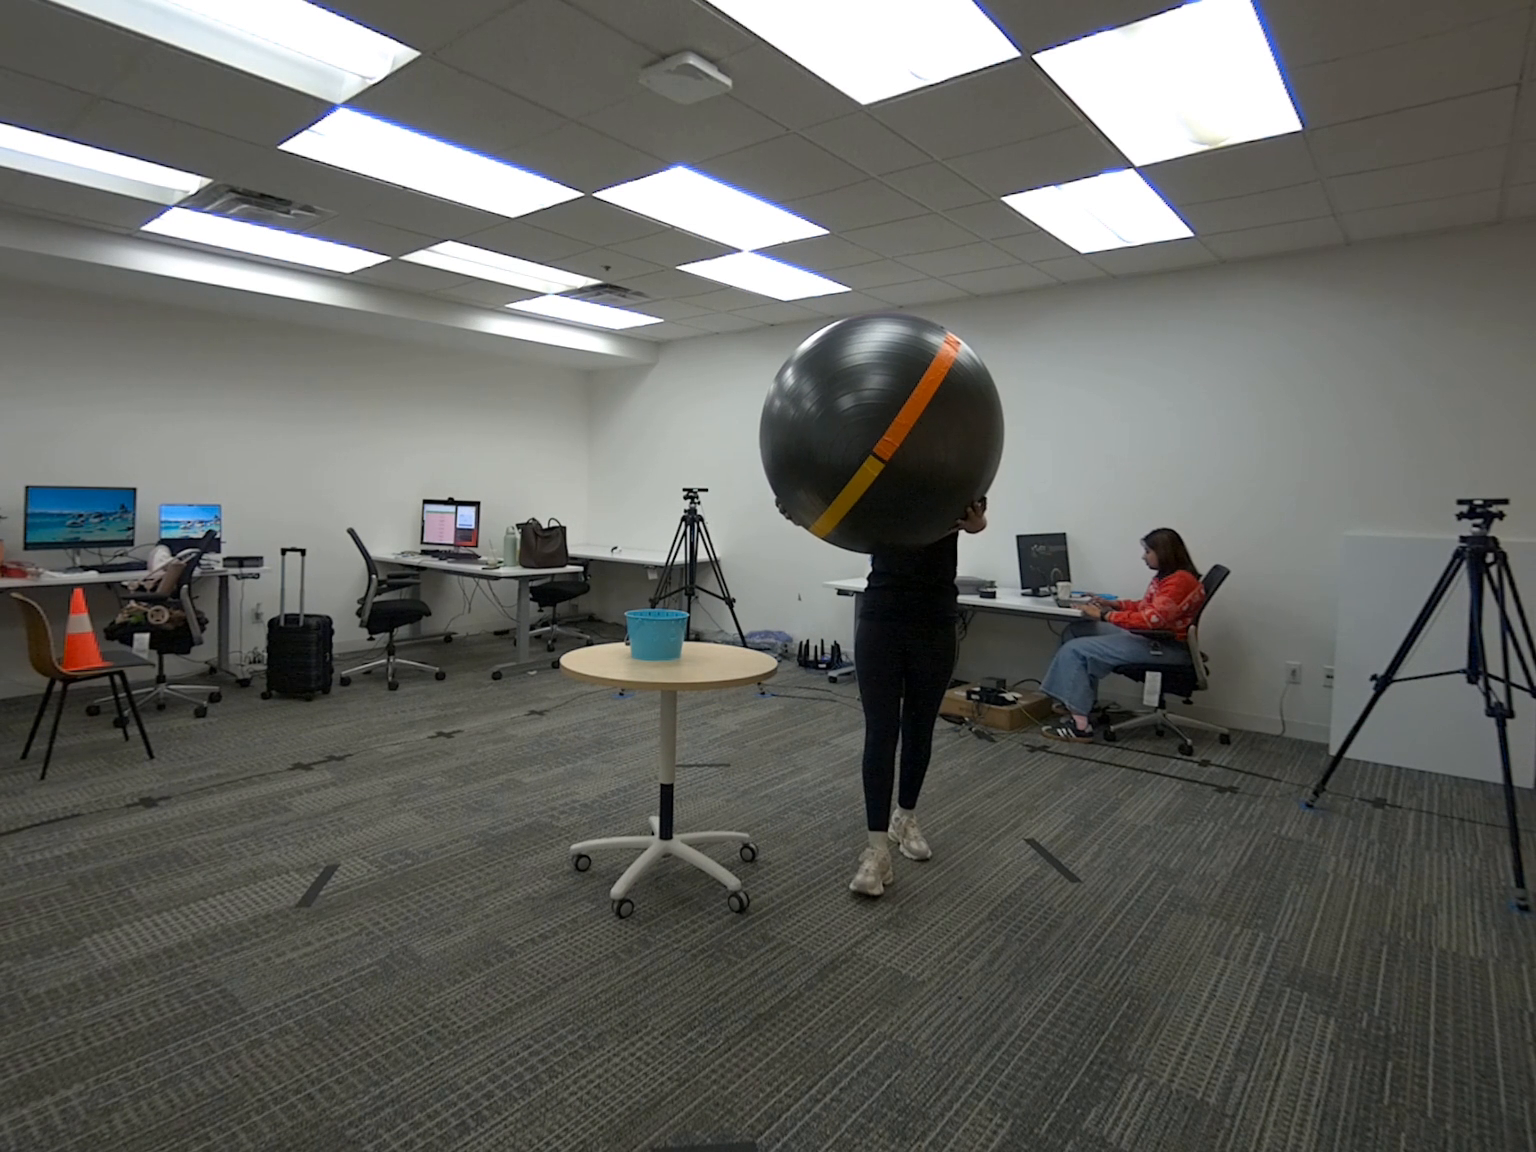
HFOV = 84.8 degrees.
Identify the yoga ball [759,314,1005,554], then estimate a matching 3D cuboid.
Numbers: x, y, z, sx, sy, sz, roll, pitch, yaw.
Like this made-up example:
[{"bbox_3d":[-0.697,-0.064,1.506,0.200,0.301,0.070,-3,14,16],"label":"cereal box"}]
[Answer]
[{"bbox_3d":[0.345,-0.441,2.689,0.757,0.756,0.761,1,4,-2],"label":"yoga ball"}]
